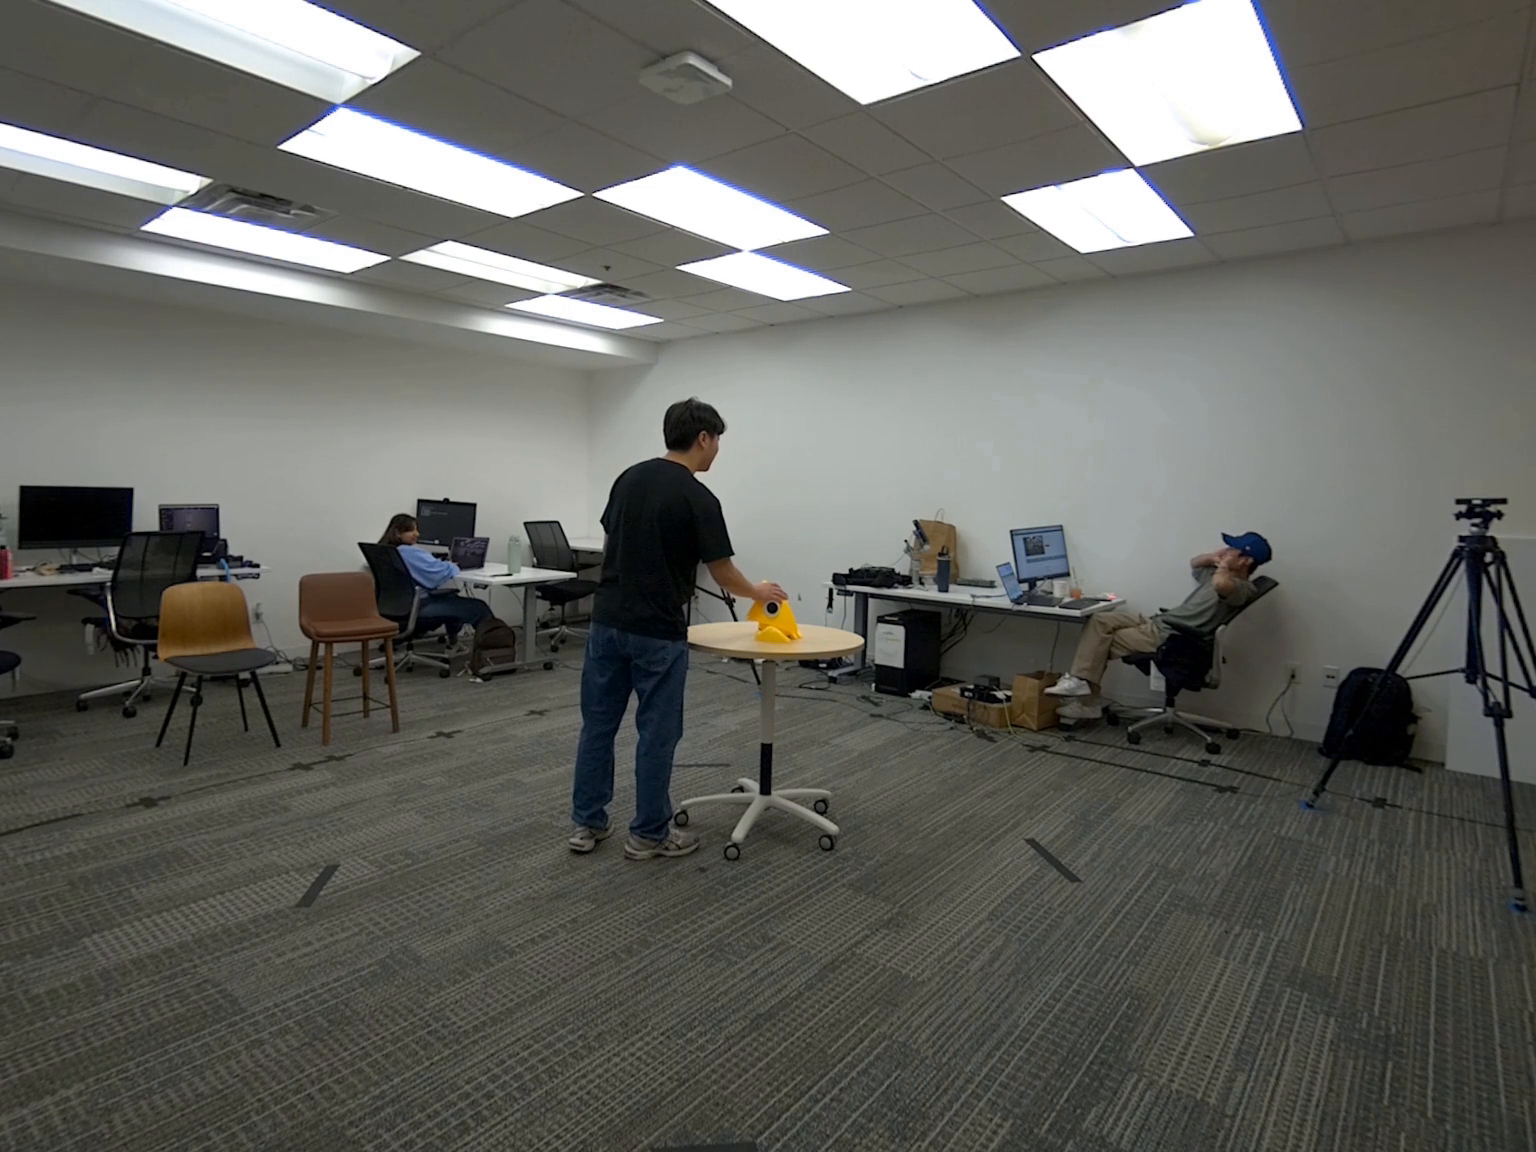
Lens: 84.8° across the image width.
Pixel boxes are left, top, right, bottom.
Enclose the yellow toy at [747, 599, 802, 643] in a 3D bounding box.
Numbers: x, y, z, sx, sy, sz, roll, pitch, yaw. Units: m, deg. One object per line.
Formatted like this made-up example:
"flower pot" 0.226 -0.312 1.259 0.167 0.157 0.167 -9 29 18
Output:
"yellow toy" 0.026 0.137 3.420 0.199 0.230 0.199 3 3 30
